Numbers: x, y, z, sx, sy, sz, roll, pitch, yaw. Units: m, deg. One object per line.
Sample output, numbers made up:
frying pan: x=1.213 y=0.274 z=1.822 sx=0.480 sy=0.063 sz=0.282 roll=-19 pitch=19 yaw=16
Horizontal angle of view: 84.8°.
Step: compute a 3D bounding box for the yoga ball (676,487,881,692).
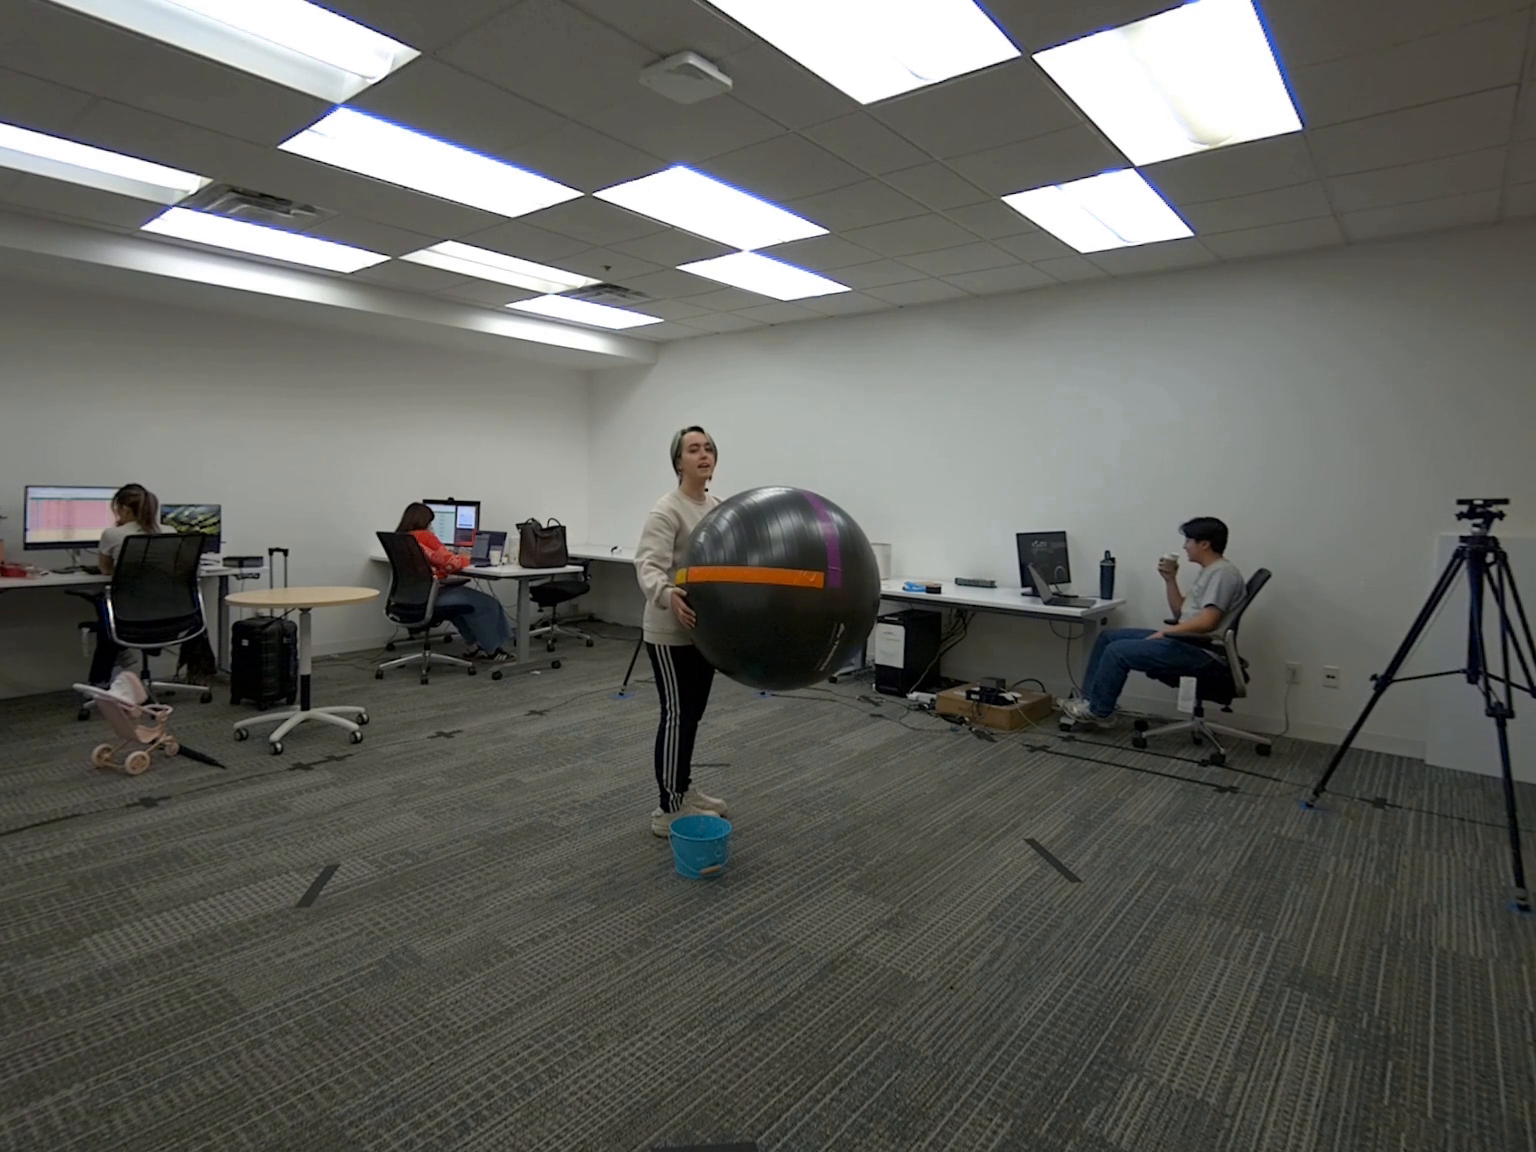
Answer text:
yoga ball: x=0.026 y=0.046 z=3.163 sx=0.757 sy=0.756 sz=0.762 roll=1 pitch=4 yaw=-2
